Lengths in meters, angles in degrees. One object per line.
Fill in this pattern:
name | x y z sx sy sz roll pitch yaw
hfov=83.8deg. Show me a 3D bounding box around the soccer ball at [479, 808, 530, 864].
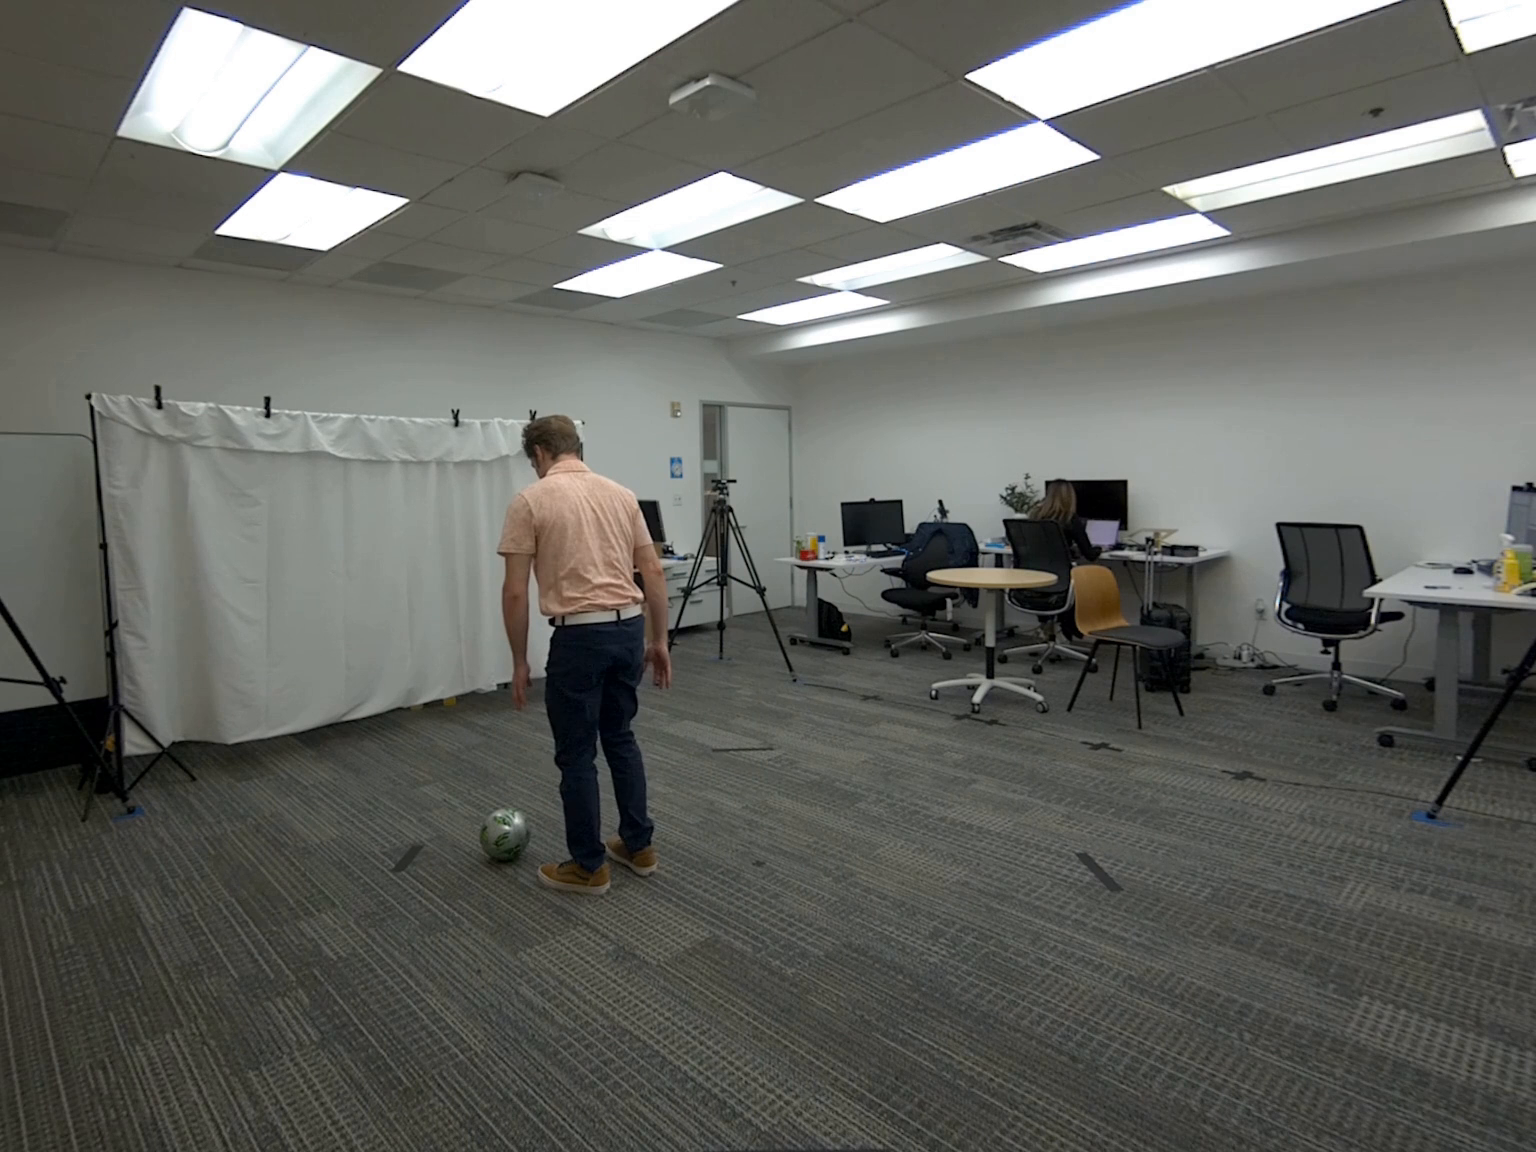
soccer ball | -0.982 0.968 3.193 0.187 0.187 0.188 -1 5 -2
